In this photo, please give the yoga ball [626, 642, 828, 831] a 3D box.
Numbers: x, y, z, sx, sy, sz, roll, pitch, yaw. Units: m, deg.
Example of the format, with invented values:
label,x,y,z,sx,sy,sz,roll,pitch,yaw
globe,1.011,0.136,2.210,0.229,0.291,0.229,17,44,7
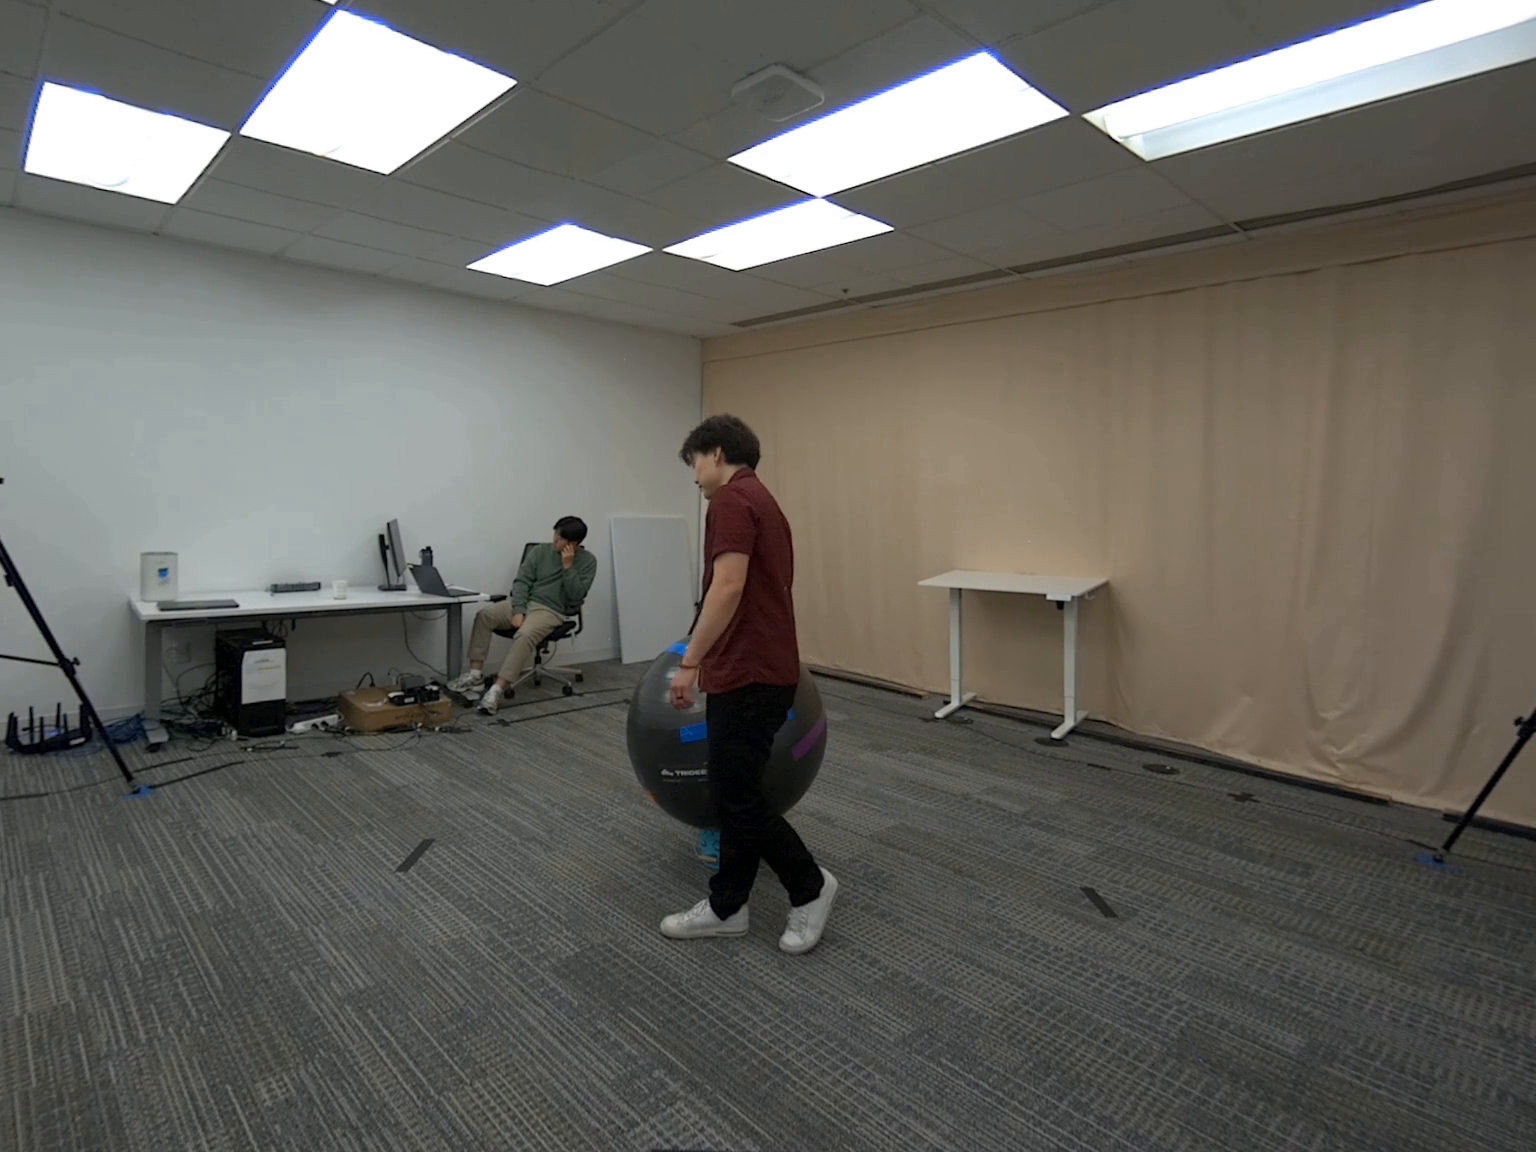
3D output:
label,x,y,z,sx,sy,sz,roll,pitch,yaw
yoga ball,-0.163,0.585,3.205,0.757,0.756,0.761,1,4,-1
